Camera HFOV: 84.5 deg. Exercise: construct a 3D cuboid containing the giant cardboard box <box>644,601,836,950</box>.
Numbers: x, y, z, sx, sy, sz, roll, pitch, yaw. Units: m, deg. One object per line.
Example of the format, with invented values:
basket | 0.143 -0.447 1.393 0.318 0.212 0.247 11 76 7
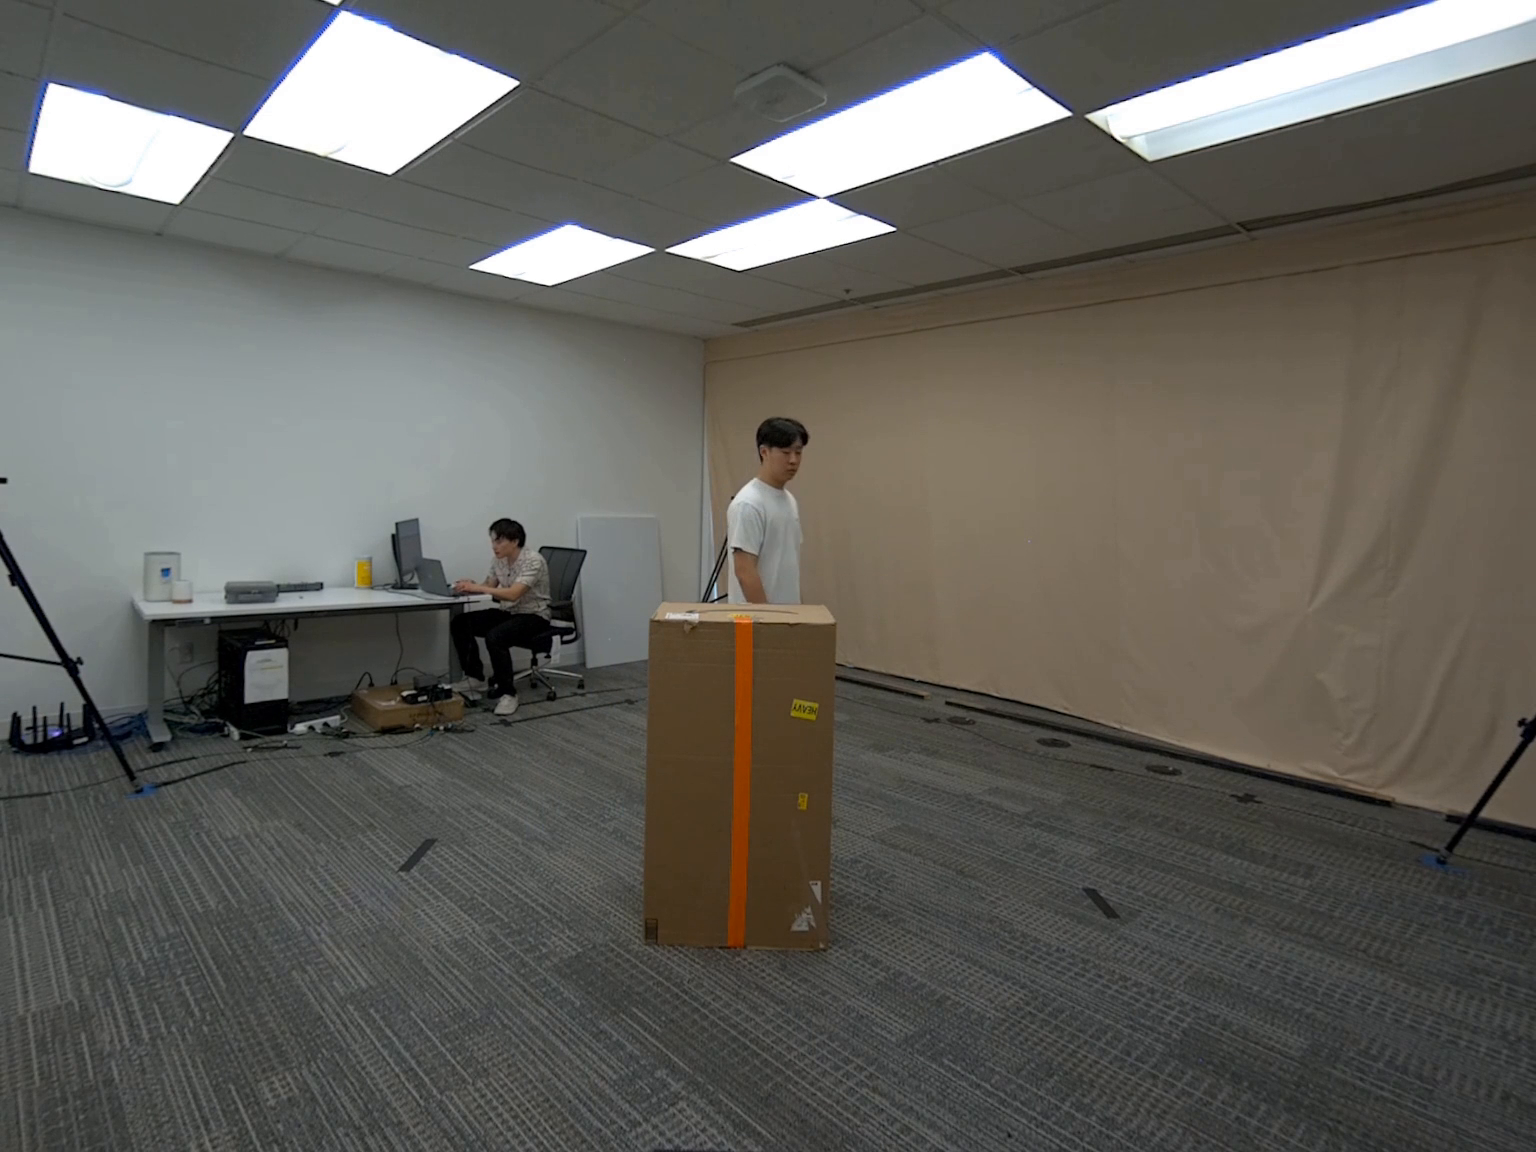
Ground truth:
giant cardboard box | -0.105 0.628 2.782 0.578 1.023 0.427 2 3 0
